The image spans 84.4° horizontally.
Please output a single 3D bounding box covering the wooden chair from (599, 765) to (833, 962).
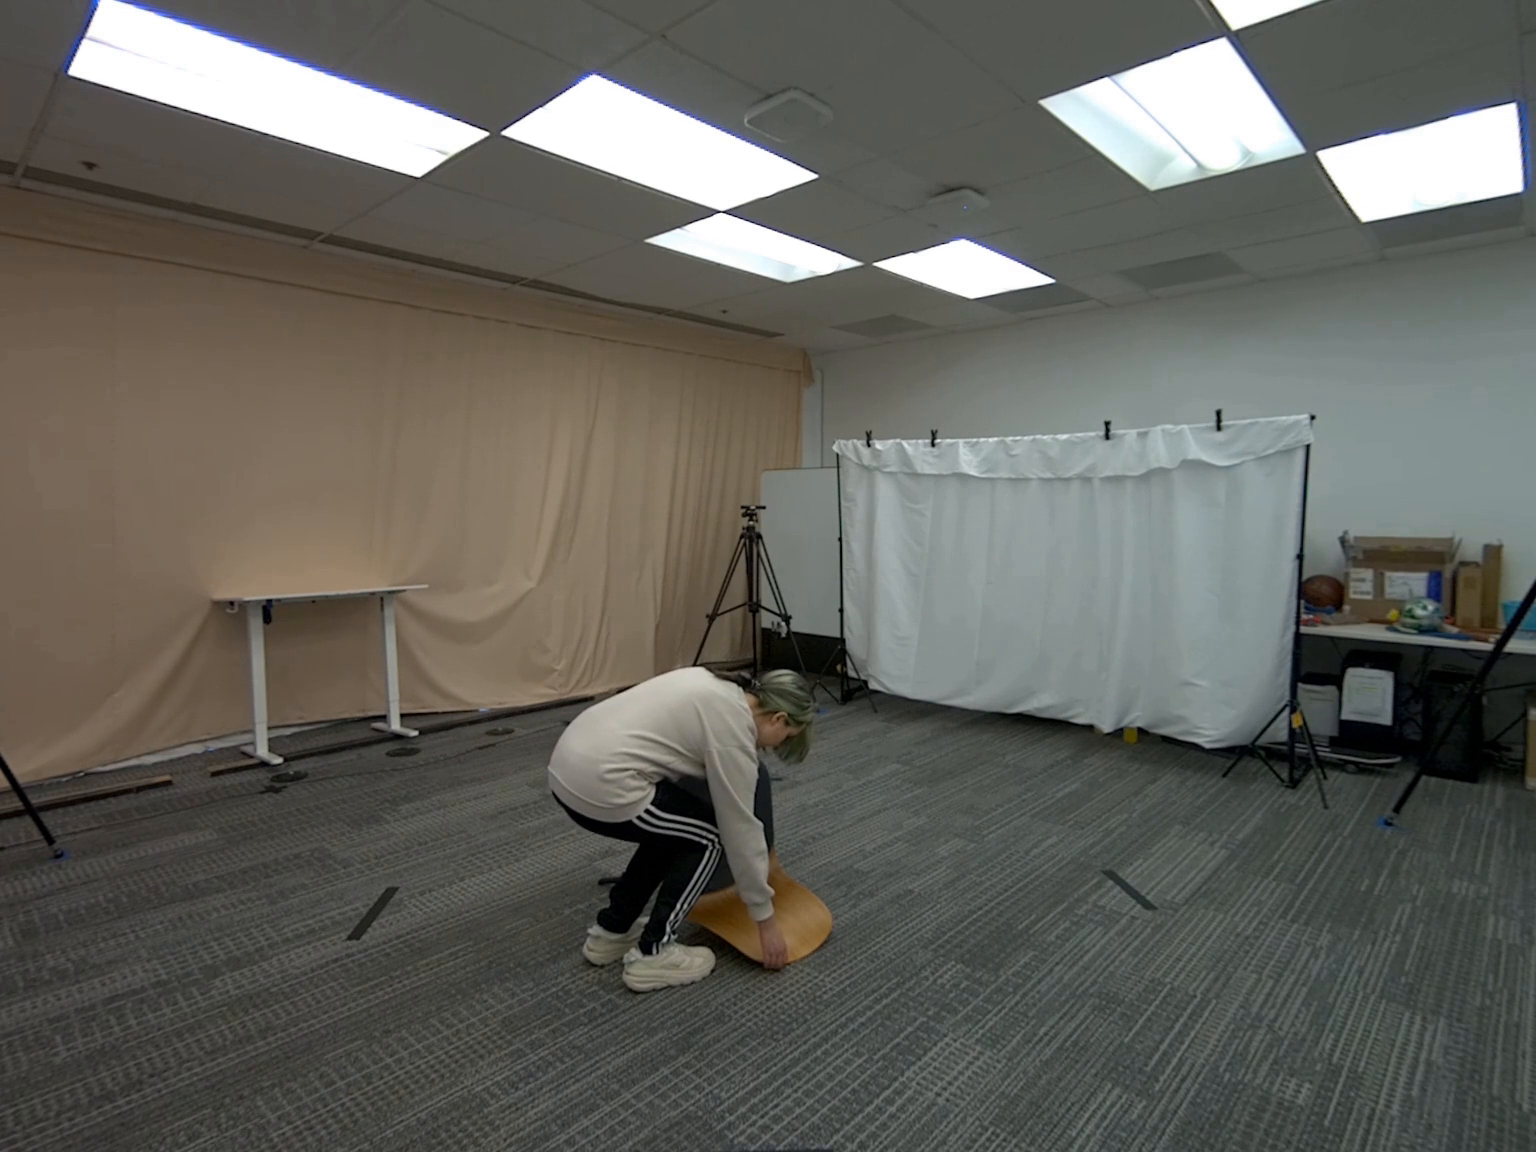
[{"bbox_3d":[-0.187,0.893,2.910,0.464,0.522,0.907,-3,6,-39],"label":"wooden chair"}]
